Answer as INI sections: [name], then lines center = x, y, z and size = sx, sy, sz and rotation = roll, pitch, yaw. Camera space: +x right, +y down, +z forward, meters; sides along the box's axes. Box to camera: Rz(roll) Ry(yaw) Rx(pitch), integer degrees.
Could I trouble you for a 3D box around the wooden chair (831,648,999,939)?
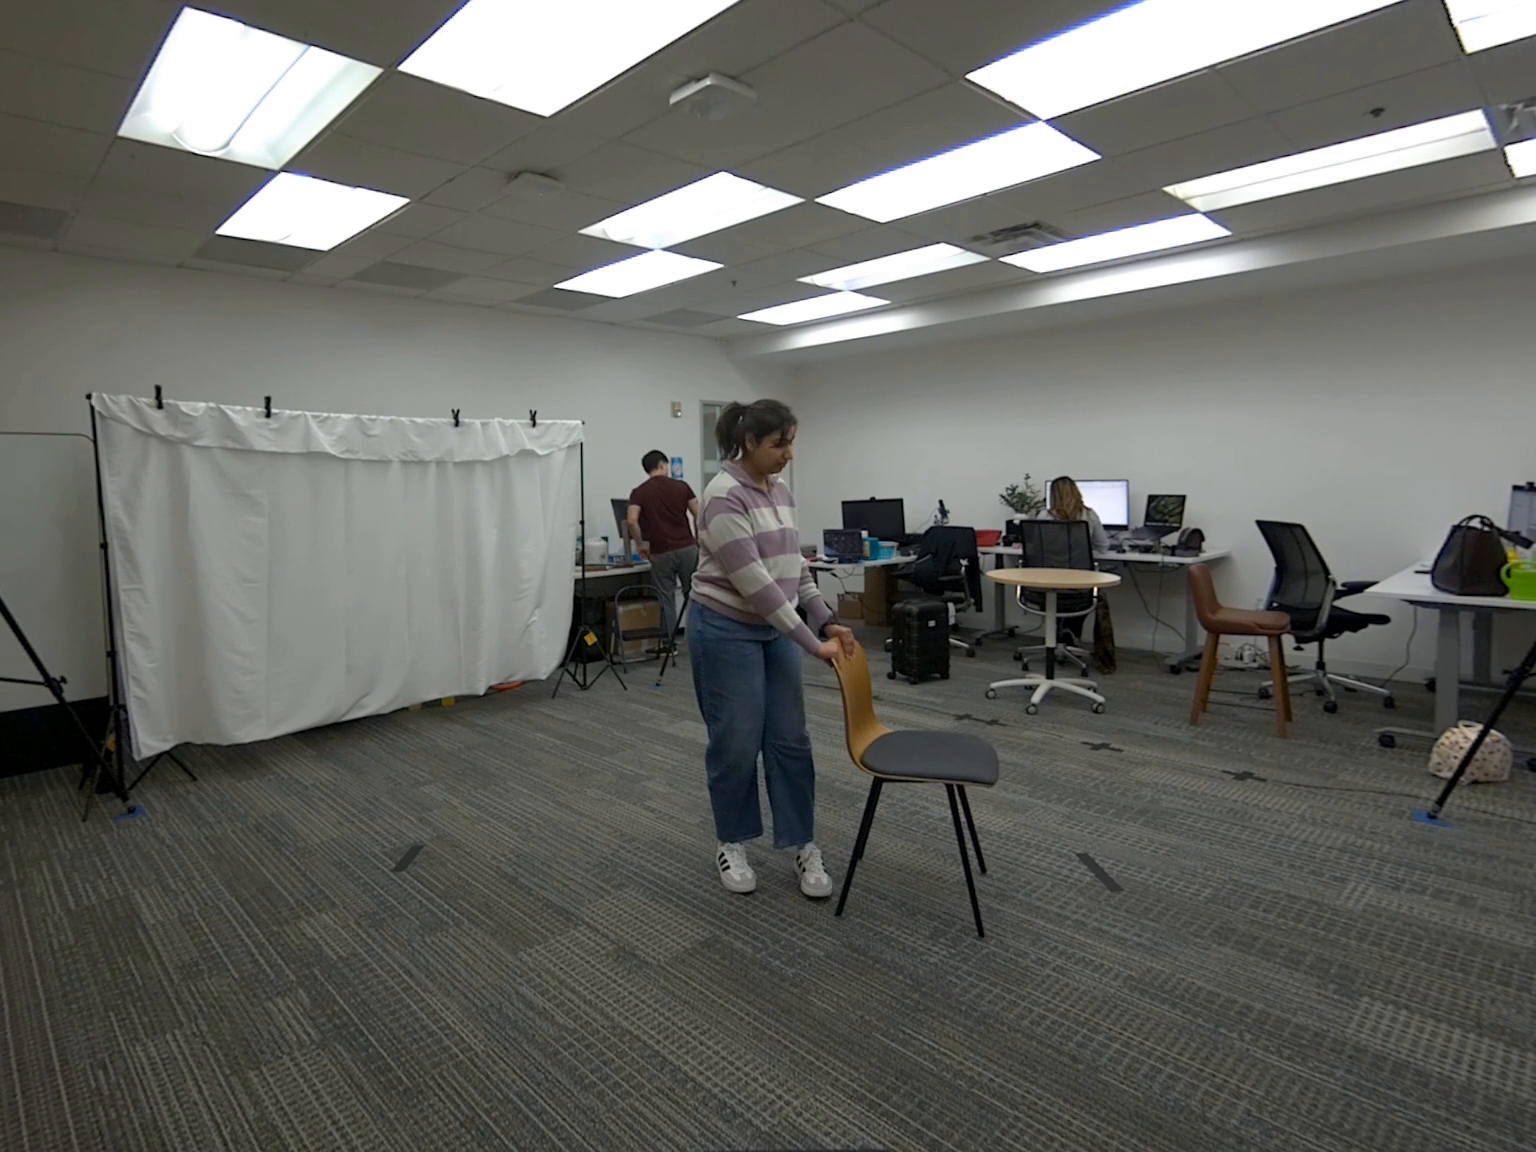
[wooden chair]
center = 0.492, 0.632, 2.837
size = 0.531, 0.876, 0.472
rotation = -4, 2, 17
